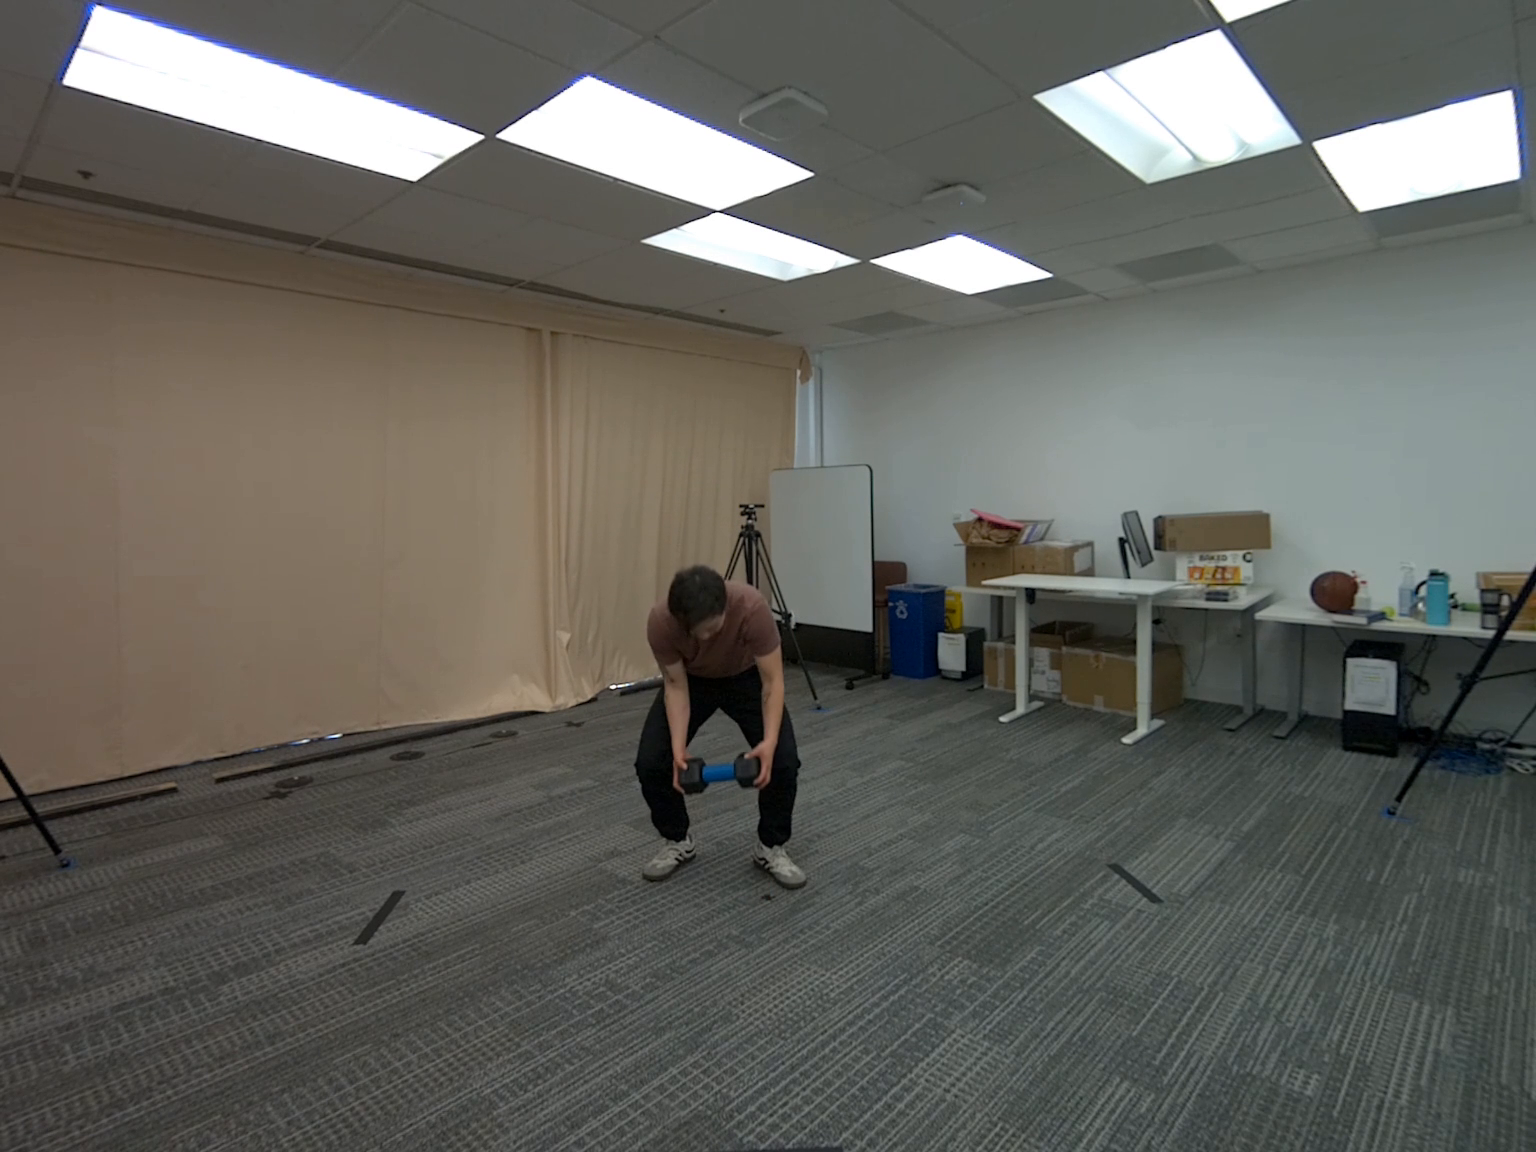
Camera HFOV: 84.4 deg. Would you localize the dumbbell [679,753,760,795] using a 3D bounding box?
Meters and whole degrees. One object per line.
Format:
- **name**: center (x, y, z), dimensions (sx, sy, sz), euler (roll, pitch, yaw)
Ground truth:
- **dumbbell**: center (-0.154, 0.679, 2.927), dimensions (0.299, 0.124, 0.105), euler (-9, -22, 19)
